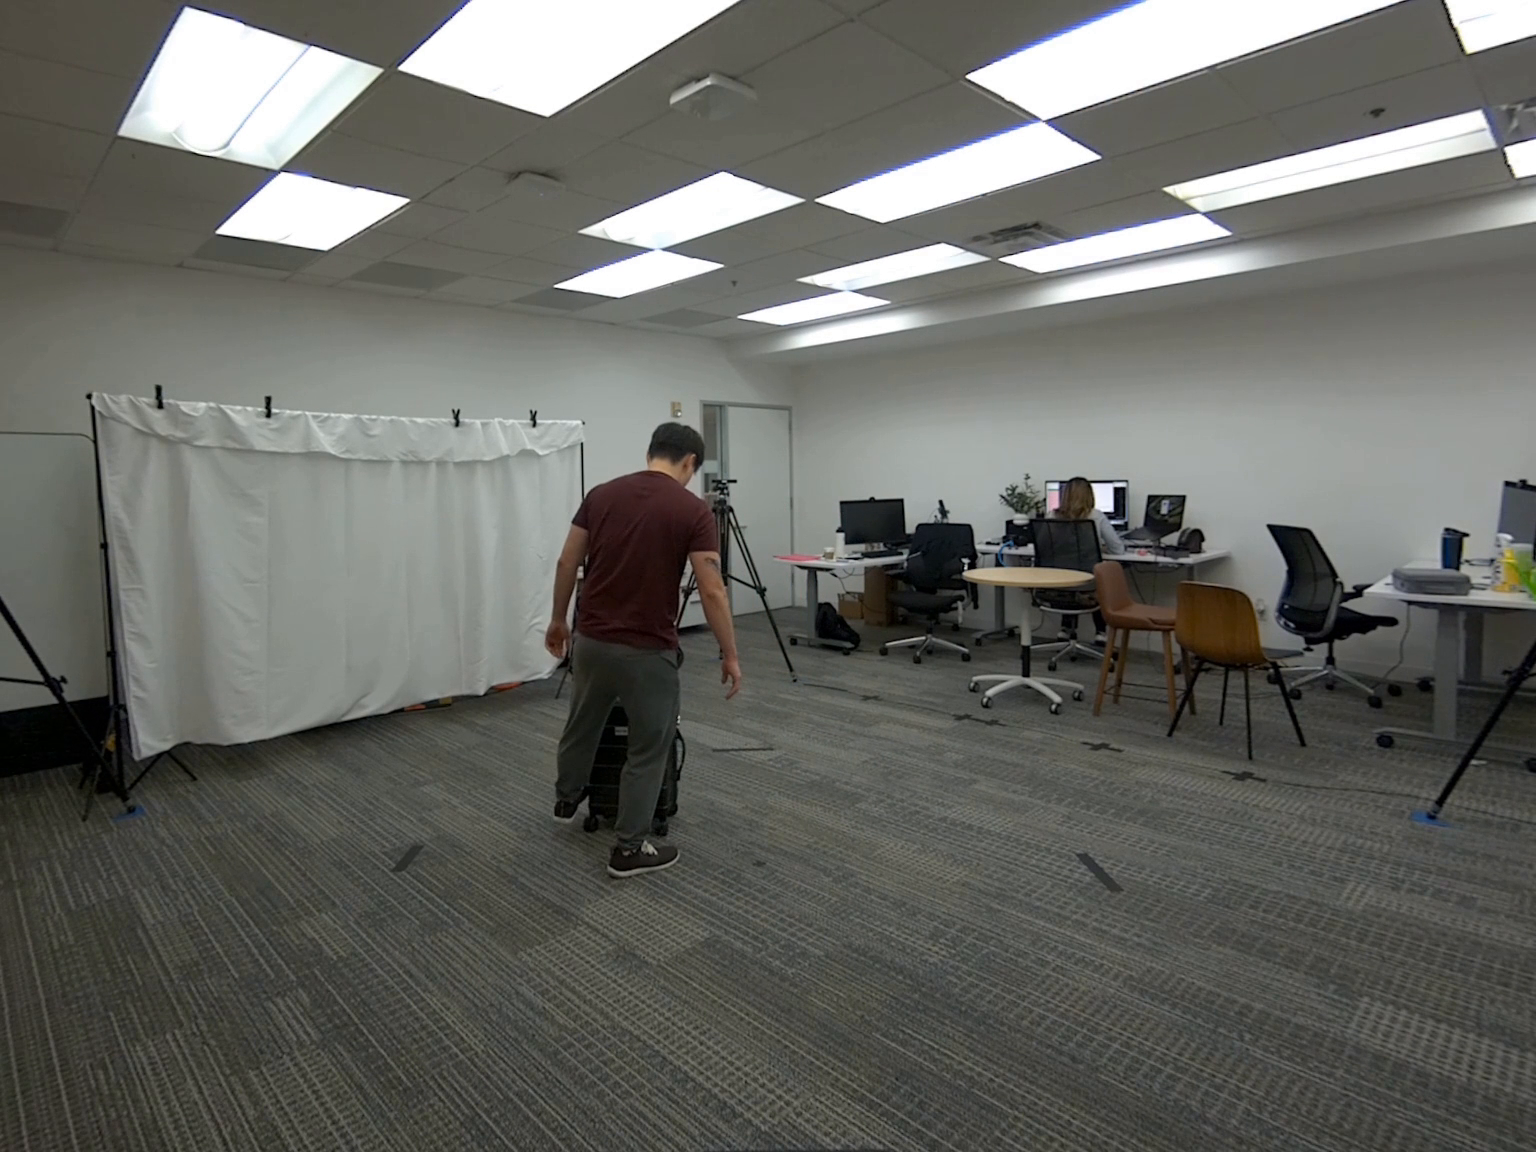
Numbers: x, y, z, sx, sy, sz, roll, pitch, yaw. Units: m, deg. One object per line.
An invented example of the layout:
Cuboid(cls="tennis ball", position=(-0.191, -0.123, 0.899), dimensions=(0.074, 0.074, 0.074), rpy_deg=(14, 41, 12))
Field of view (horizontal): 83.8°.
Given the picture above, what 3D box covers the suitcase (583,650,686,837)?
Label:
Cuboid(cls="suitcase", position=(-0.551, 0.538, 3.507), dimensions=(0.388, 0.978, 0.254), rpy_deg=(-1, 1, 11))
